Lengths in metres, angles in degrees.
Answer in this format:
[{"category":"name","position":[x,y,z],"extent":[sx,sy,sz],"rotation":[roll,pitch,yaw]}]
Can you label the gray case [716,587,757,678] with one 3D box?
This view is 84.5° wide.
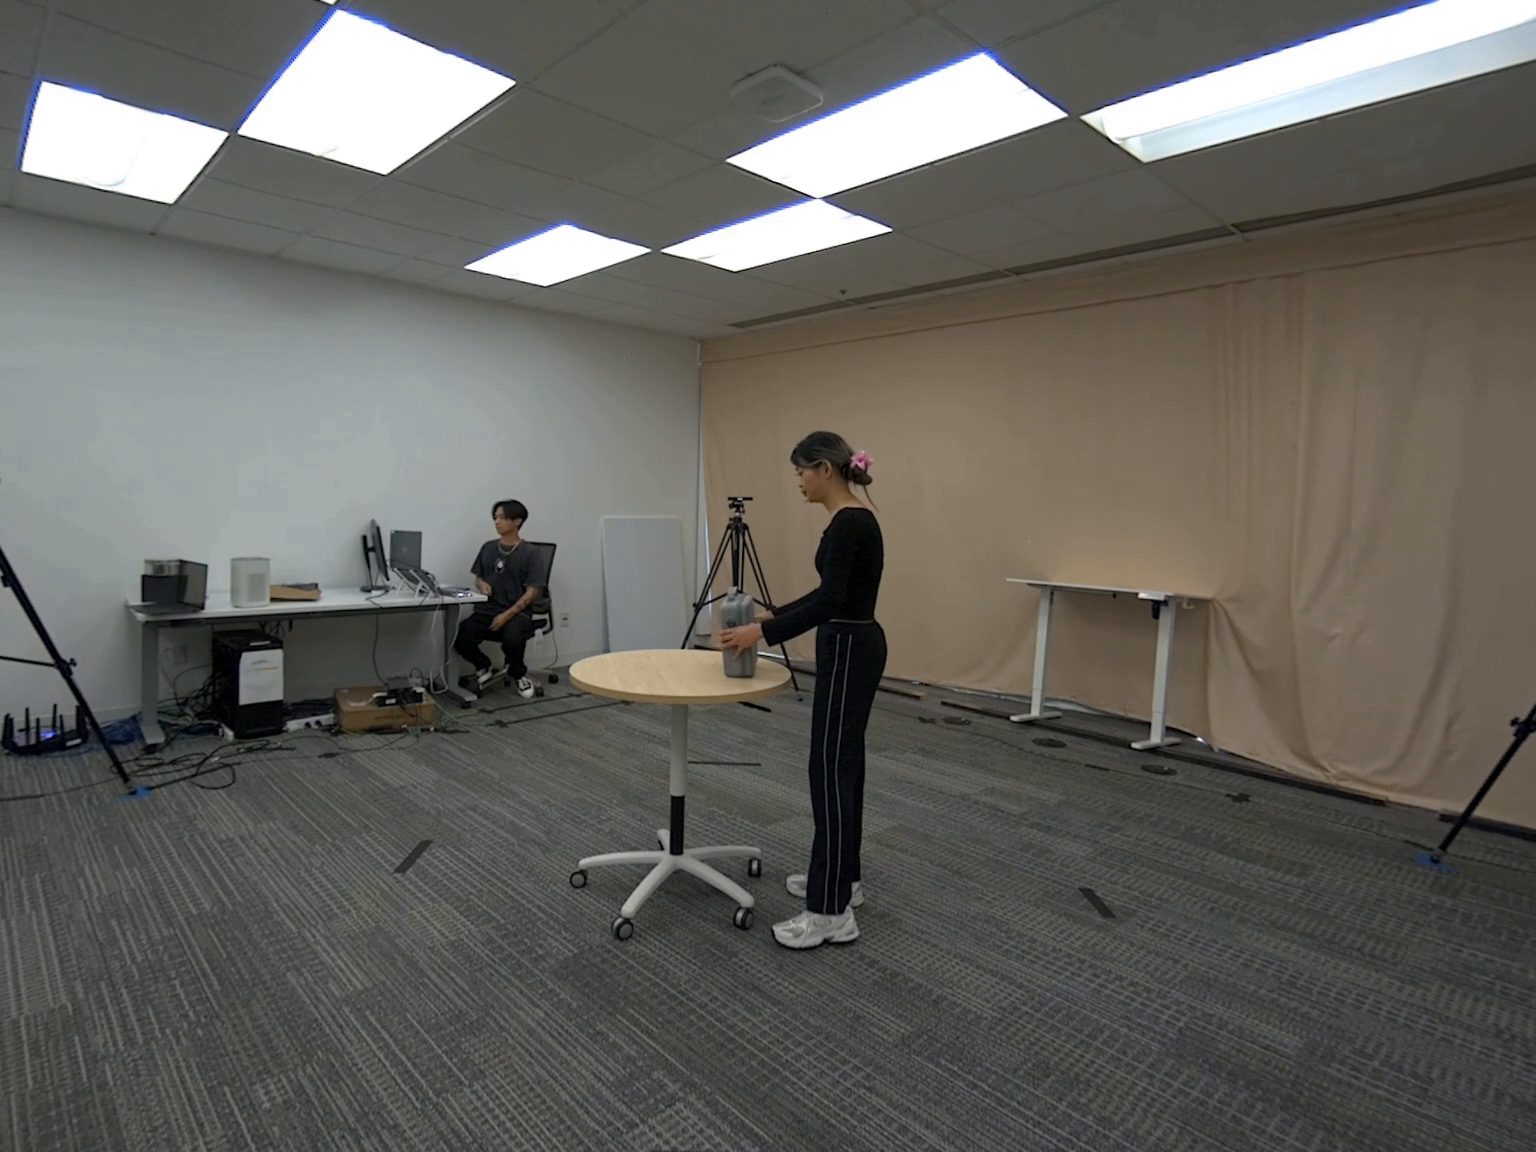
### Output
[{"category":"gray case","position":[-0.101,0.203,2.918],"extent":[0.105,0.259,0.257],"rotation":[-5,6,5]}]
